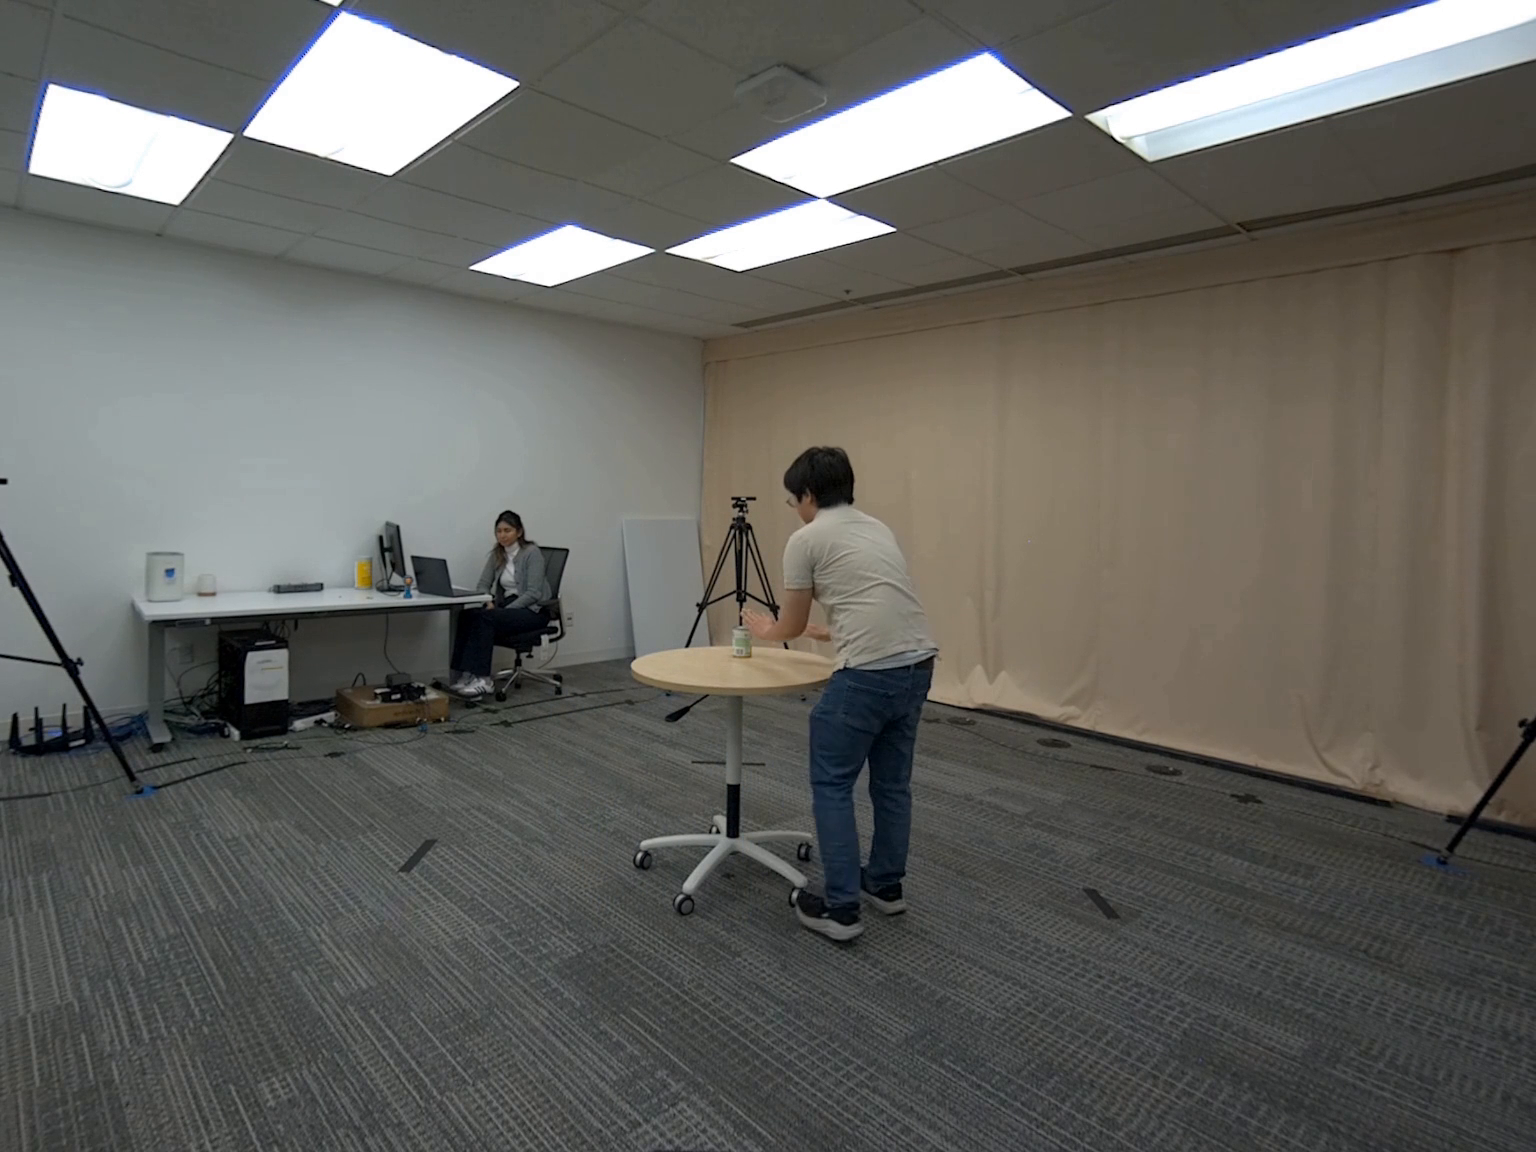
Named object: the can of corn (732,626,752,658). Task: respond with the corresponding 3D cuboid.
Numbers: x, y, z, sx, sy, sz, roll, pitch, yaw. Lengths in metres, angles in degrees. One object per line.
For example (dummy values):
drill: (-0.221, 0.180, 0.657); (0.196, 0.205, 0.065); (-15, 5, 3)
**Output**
can of corn: (-0.115, 0.256, 3.248); (0.074, 0.111, 0.074); (-1, 3, -1)
